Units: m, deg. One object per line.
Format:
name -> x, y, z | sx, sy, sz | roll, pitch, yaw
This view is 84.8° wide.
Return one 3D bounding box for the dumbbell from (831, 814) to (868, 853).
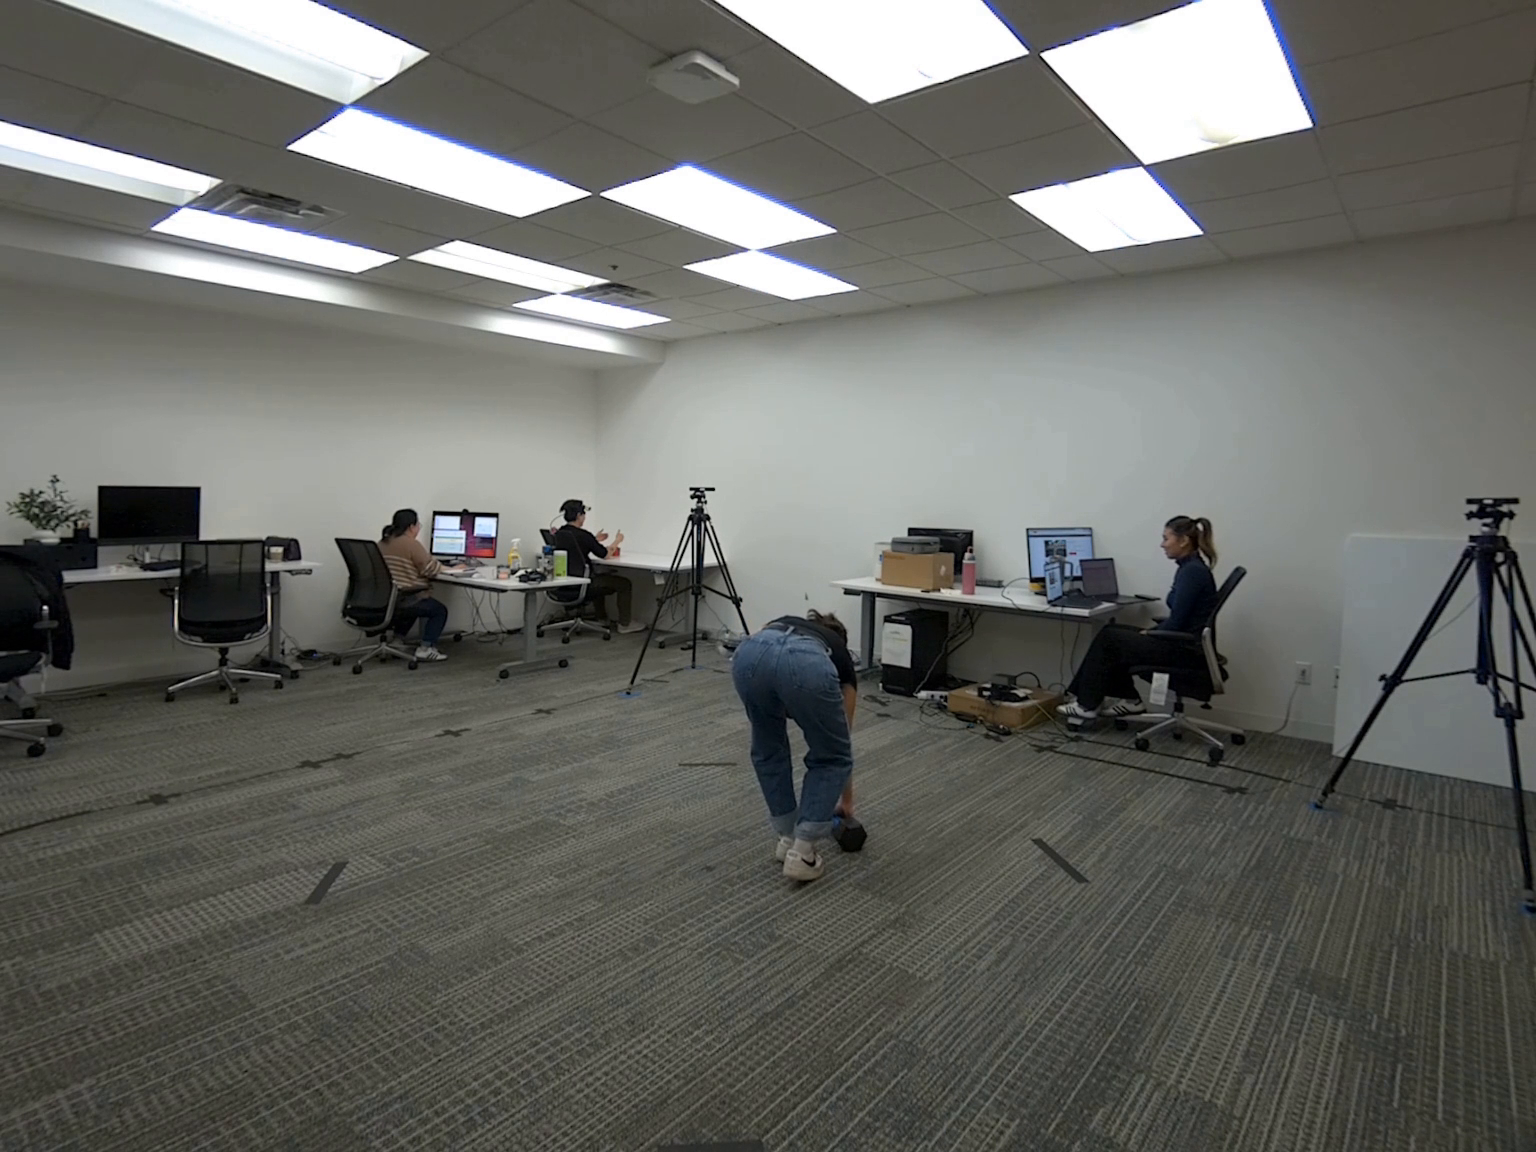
dumbbell -> 0.274, 0.990, 3.412 | 0.106, 0.123, 0.300 | 29, -5, -20
